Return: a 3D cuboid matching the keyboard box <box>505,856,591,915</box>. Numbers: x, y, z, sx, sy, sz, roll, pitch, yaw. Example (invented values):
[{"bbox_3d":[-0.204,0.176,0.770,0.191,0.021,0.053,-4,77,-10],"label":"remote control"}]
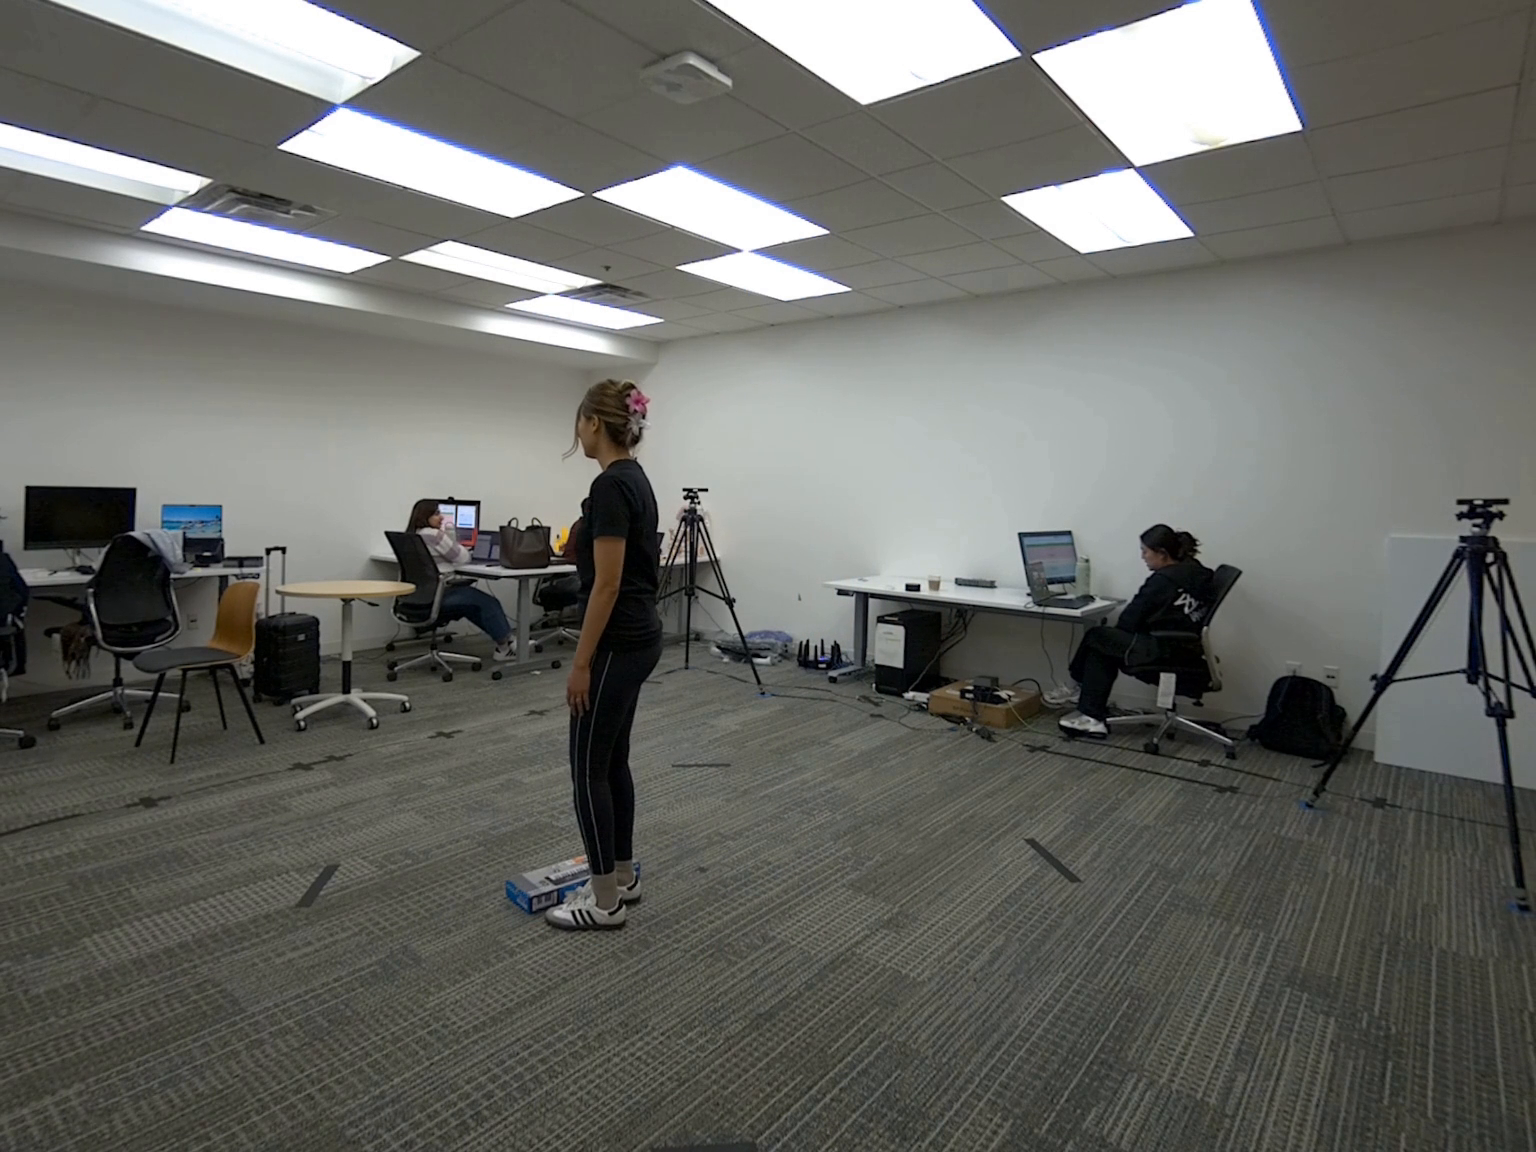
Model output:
[{"bbox_3d":[-0.684,1.044,2.951,0.424,0.059,0.182,-4,6,-41],"label":"keyboard box"}]
